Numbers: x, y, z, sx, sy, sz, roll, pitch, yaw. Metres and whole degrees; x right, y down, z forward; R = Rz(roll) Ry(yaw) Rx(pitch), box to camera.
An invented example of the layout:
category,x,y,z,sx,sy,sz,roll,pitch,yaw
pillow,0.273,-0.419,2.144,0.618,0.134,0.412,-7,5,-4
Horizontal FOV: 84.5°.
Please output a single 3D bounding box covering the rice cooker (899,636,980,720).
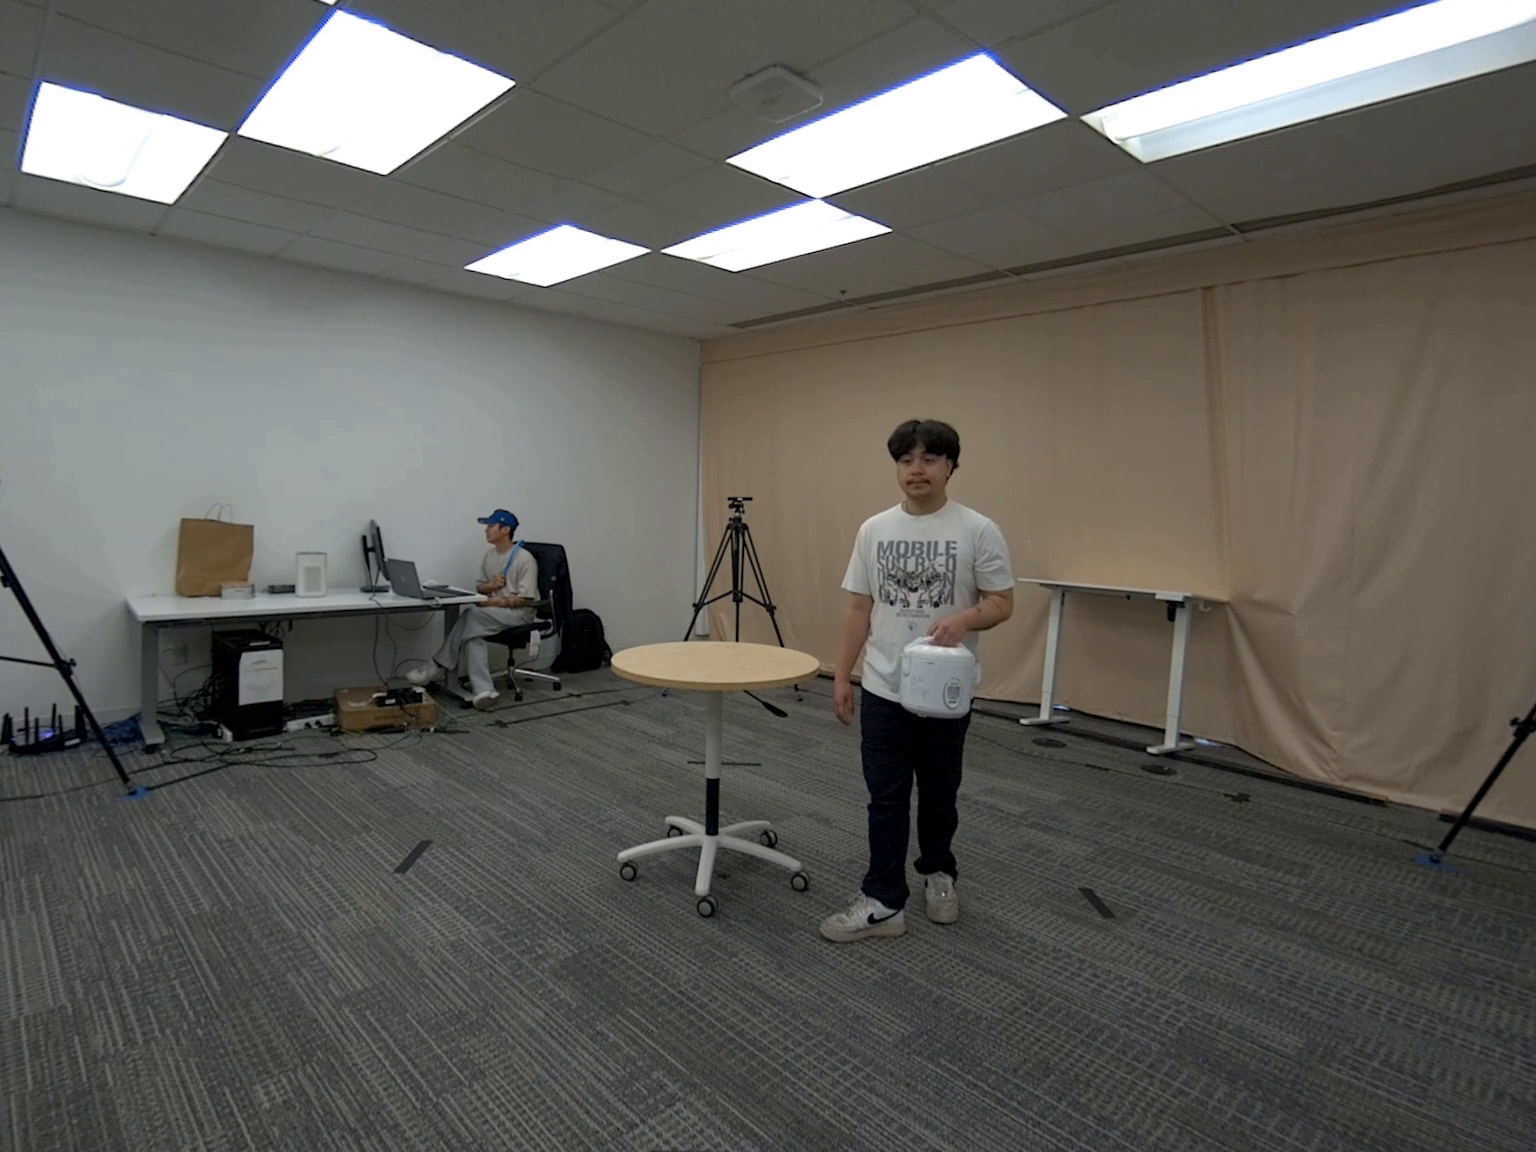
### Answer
category,x,y,z,sx,sy,sz,roll,pitch,yaw
rice cooker,0.498,0.297,2.517,0.218,0.233,0.220,4,0,-14
